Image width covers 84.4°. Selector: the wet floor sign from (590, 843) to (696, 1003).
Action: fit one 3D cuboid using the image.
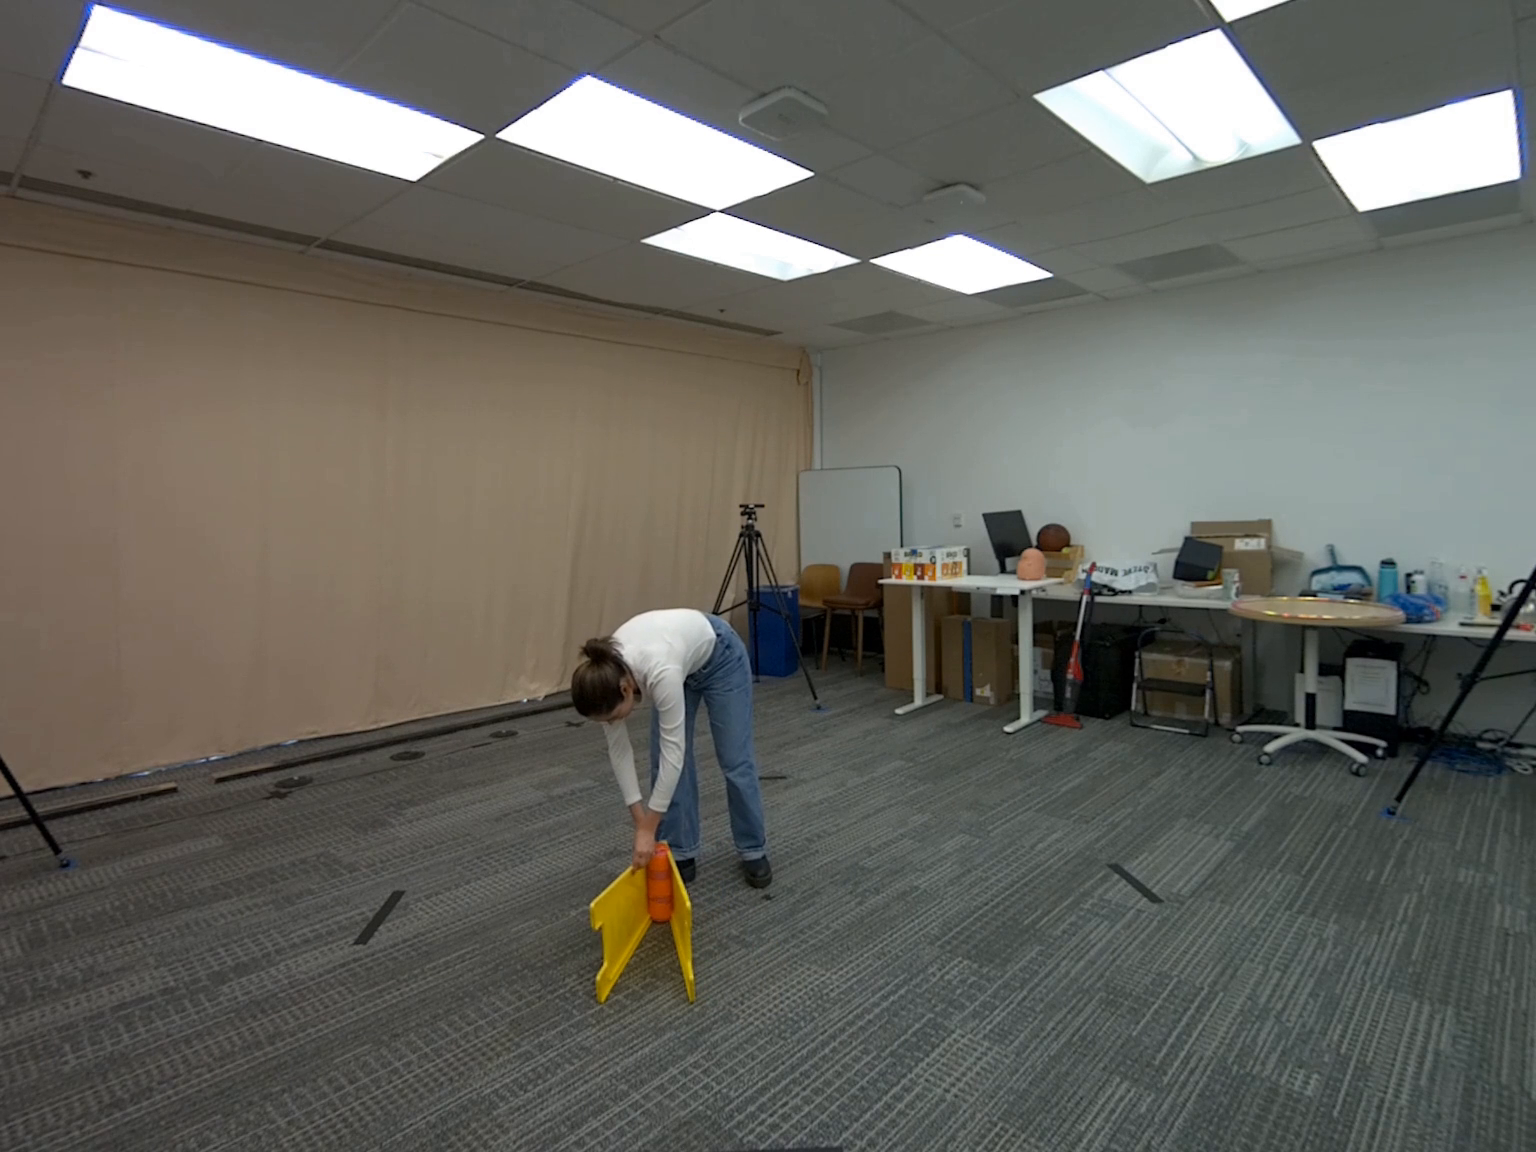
[{"bbox_3d":[-0.359,1.045,2.673,0.290,0.282,0.646,-2,1,-2],"label":"wet floor sign"}]
